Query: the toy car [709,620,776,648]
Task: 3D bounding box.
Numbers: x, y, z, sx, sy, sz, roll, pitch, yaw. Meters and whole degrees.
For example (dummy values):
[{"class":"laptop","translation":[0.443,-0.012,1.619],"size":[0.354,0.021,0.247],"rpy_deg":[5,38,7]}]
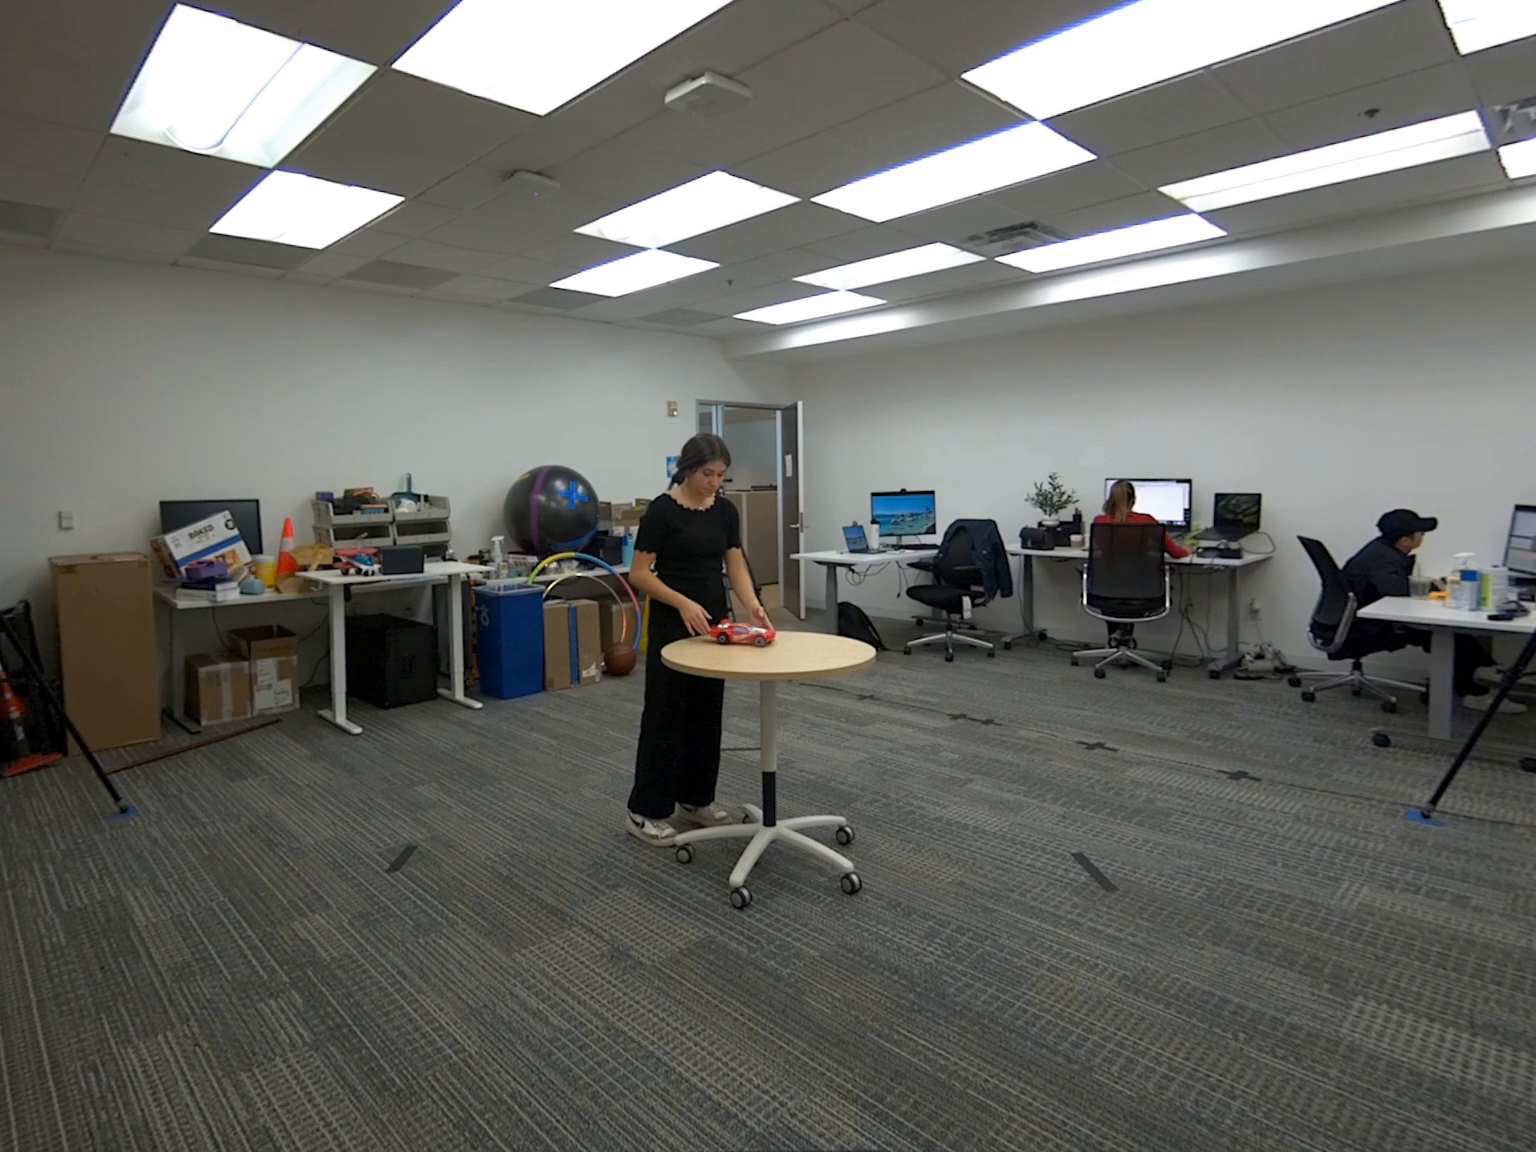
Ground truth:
[{"class":"toy car","translation":[-0.101,0.223,3.191],"size":[0.260,0.083,0.128],"rpy_deg":[12,9,19]}]
